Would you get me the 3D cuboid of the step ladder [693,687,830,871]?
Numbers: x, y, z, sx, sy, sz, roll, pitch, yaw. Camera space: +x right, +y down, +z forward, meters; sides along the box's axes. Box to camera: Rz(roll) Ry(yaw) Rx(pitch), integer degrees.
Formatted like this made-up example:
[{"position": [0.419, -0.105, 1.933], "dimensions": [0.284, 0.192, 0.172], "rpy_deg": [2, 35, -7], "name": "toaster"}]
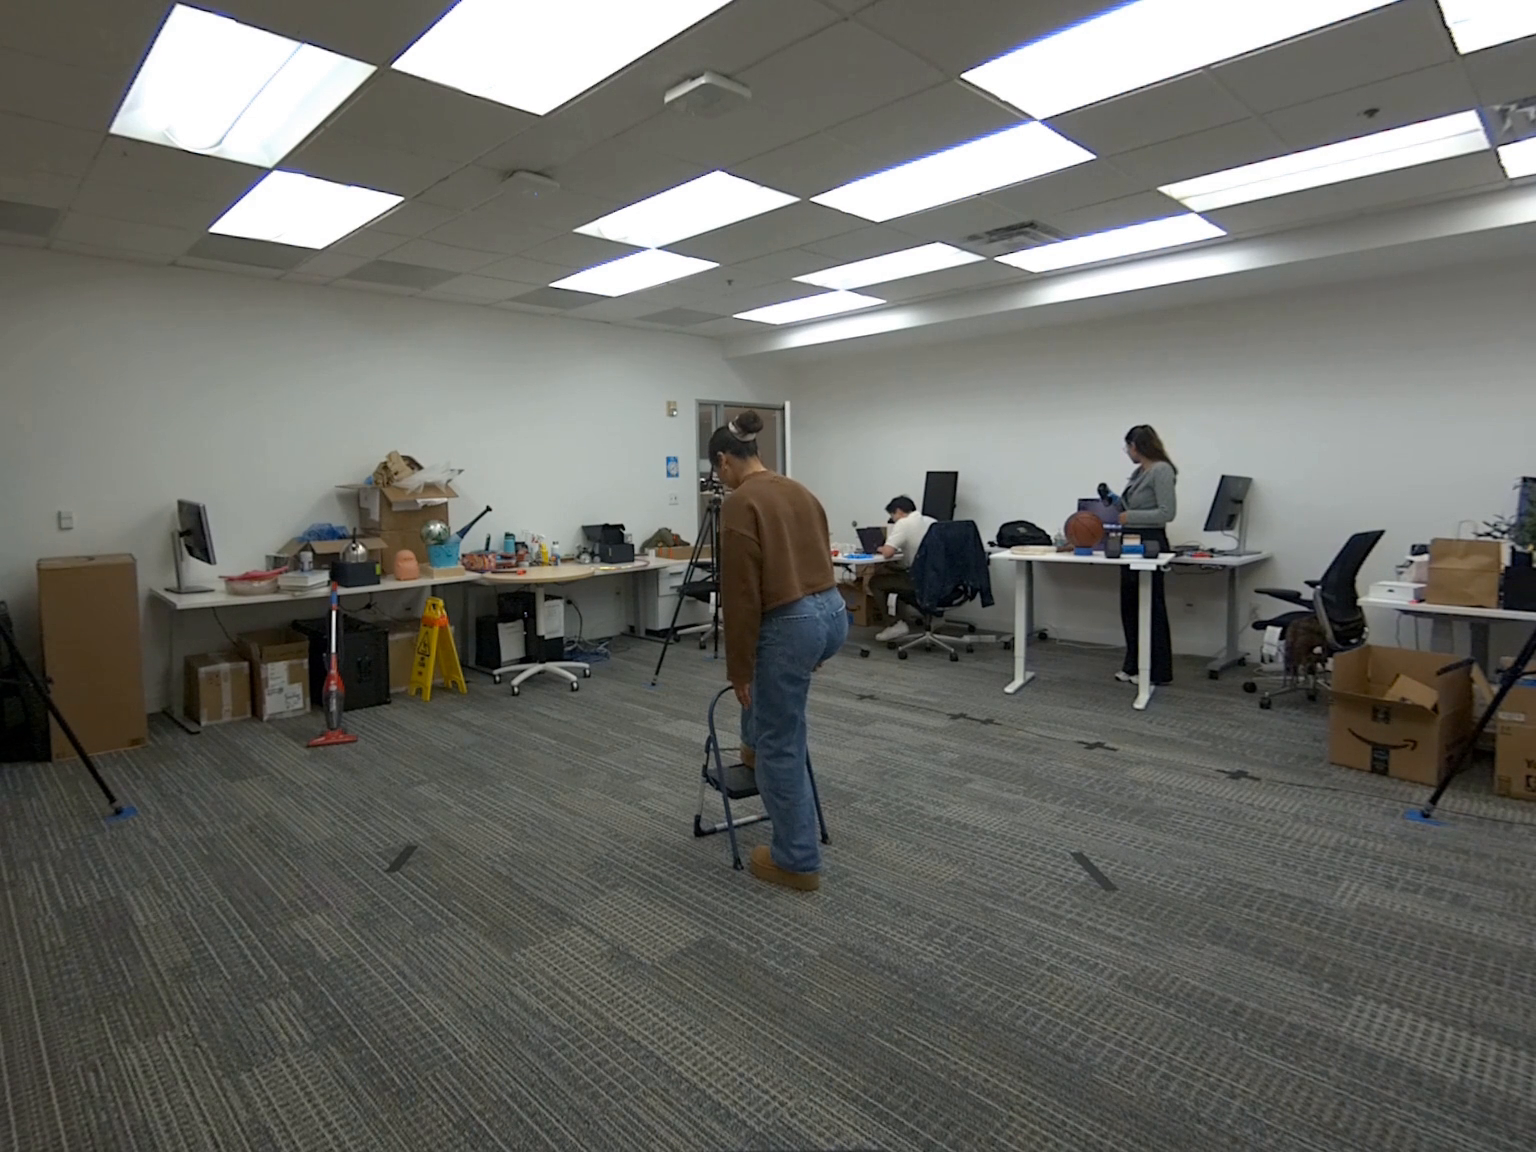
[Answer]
[{"position": [-0.029, 0.721, 3.290], "dimensions": [0.420, 0.604, 0.359], "rpy_deg": [-4, 5, -33], "name": "step ladder"}]
